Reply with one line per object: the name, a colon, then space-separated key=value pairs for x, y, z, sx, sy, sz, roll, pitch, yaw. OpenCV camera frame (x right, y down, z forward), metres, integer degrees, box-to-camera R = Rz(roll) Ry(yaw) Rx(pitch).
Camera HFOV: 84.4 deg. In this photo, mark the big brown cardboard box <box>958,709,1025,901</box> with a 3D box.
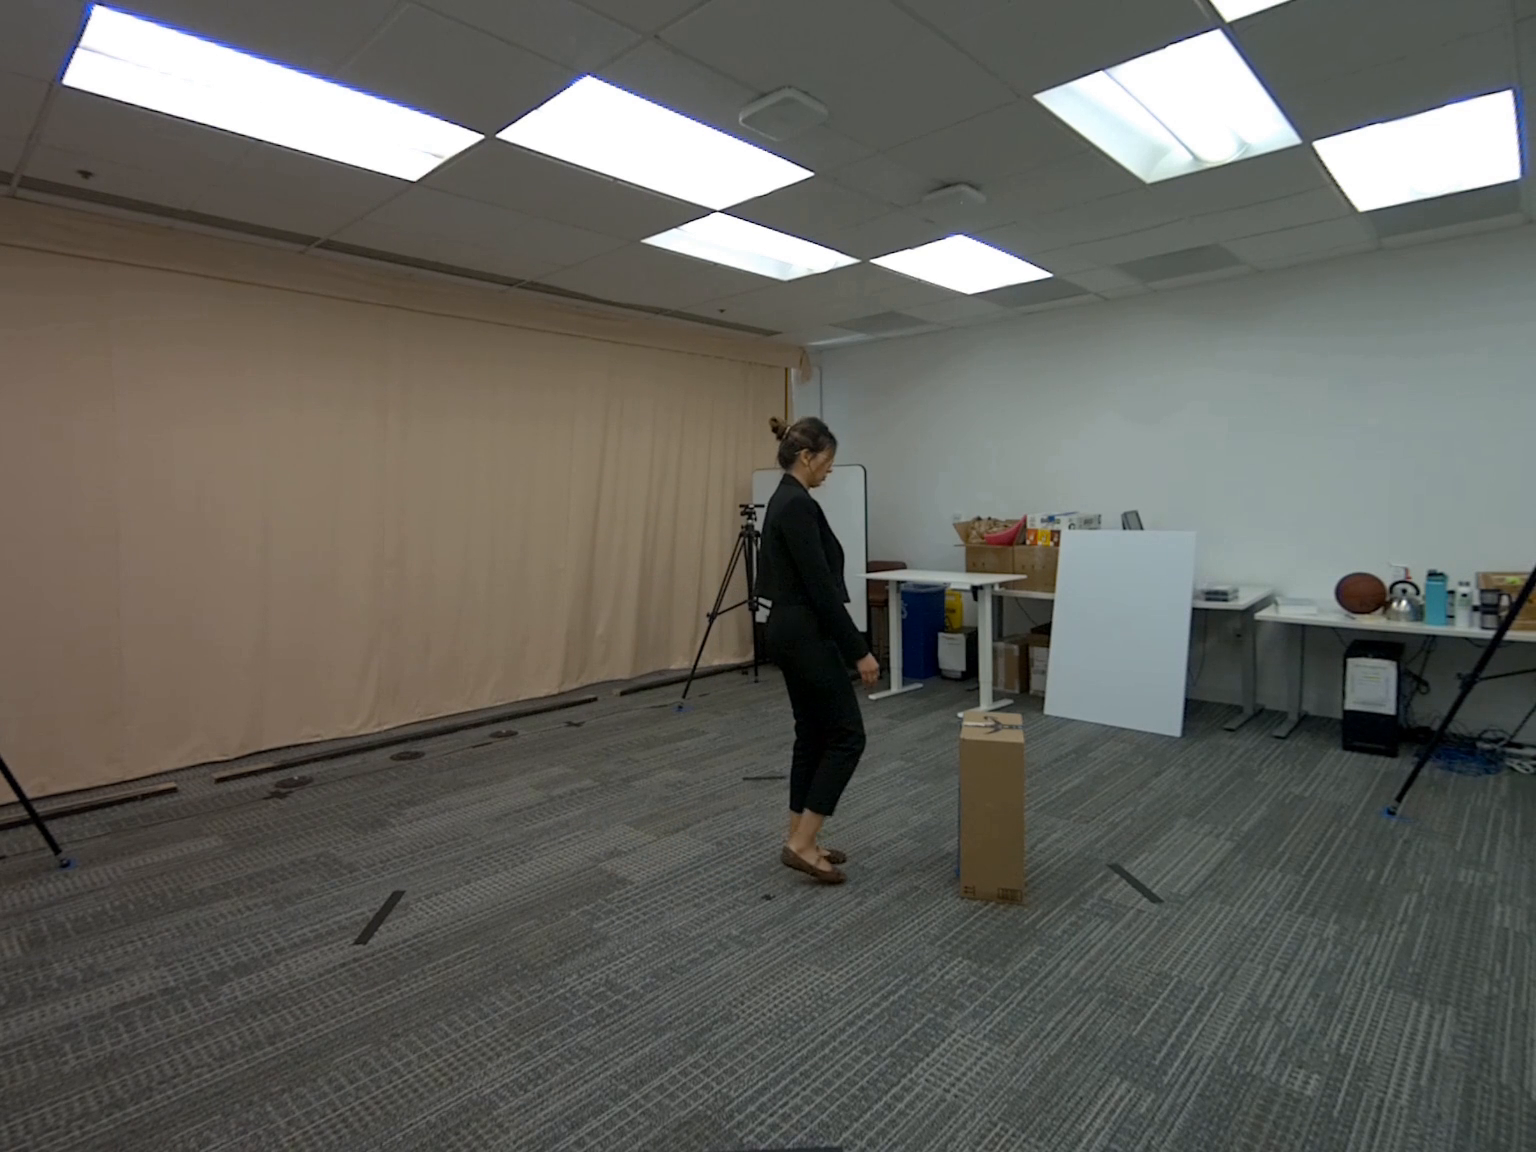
big brown cardboard box: x=0.829 y=0.837 z=3.104 sx=0.237 sy=0.588 sz=0.411 roll=1 pitch=2 yaw=15
